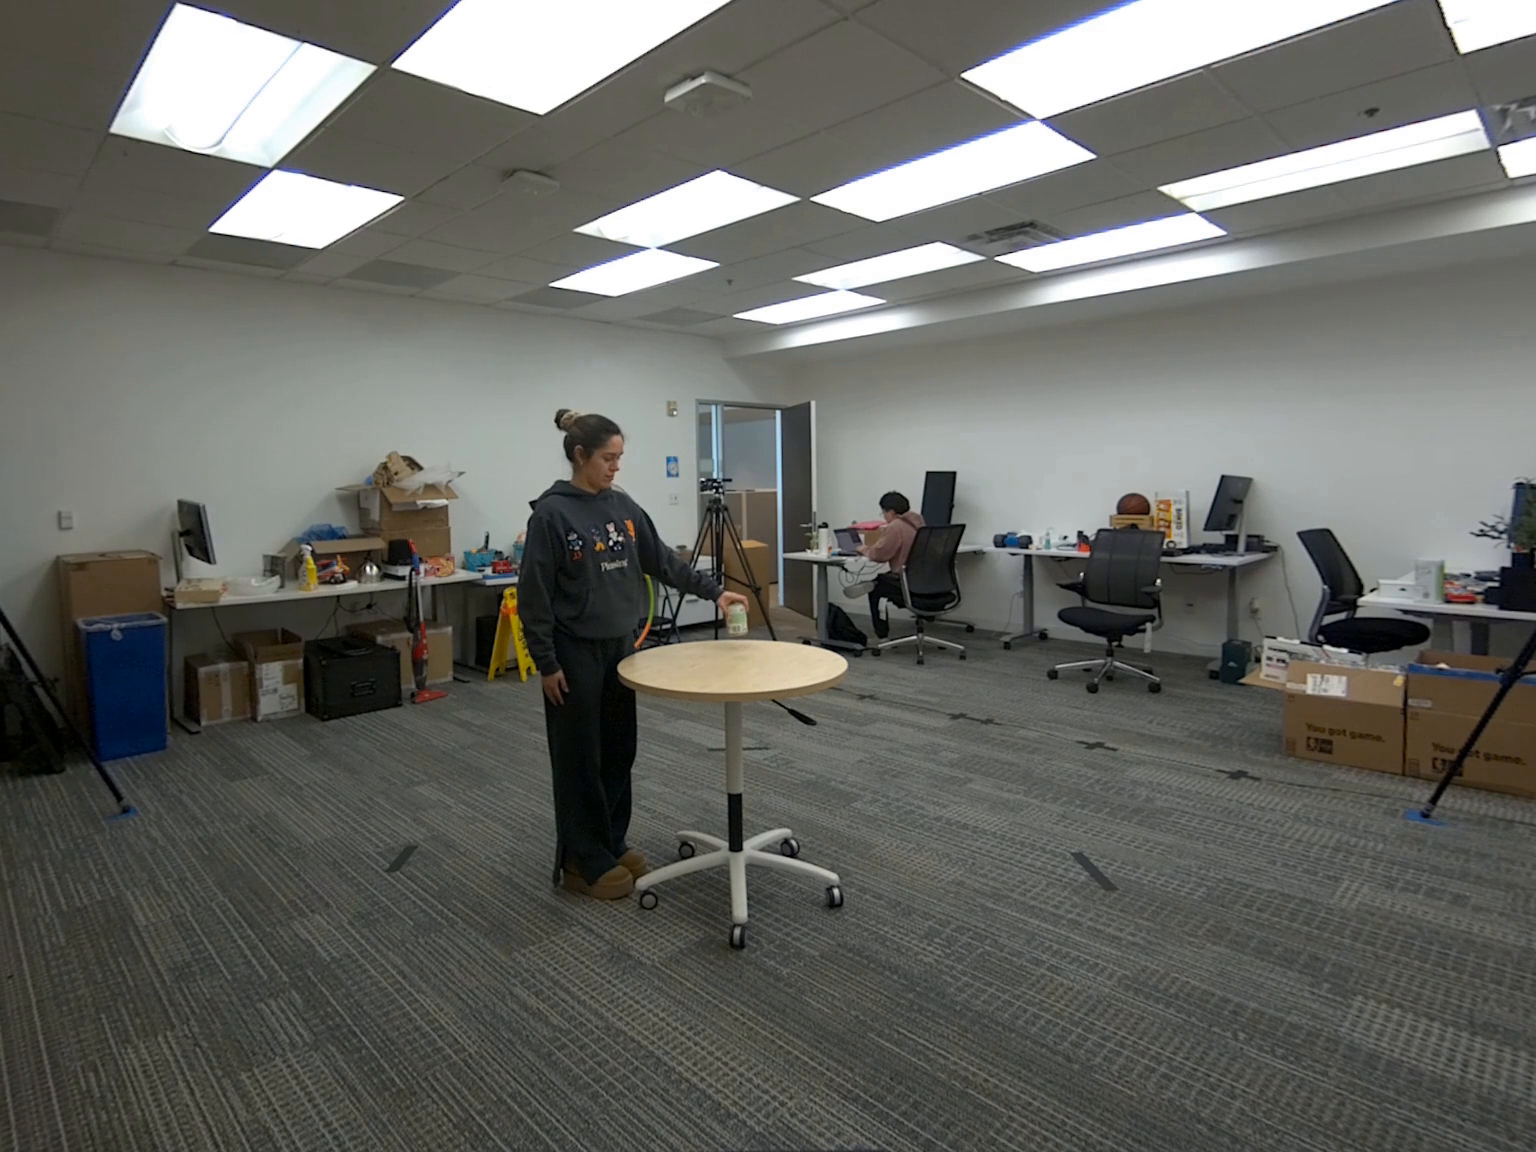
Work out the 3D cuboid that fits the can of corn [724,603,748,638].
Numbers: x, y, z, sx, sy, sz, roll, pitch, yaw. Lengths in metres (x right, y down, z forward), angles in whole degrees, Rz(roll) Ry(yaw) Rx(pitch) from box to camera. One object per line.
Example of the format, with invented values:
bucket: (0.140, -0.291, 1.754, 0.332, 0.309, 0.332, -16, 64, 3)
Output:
can of corn: (-0.117, 0.160, 3.049, 0.074, 0.111, 0.074, -6, -1, -2)
